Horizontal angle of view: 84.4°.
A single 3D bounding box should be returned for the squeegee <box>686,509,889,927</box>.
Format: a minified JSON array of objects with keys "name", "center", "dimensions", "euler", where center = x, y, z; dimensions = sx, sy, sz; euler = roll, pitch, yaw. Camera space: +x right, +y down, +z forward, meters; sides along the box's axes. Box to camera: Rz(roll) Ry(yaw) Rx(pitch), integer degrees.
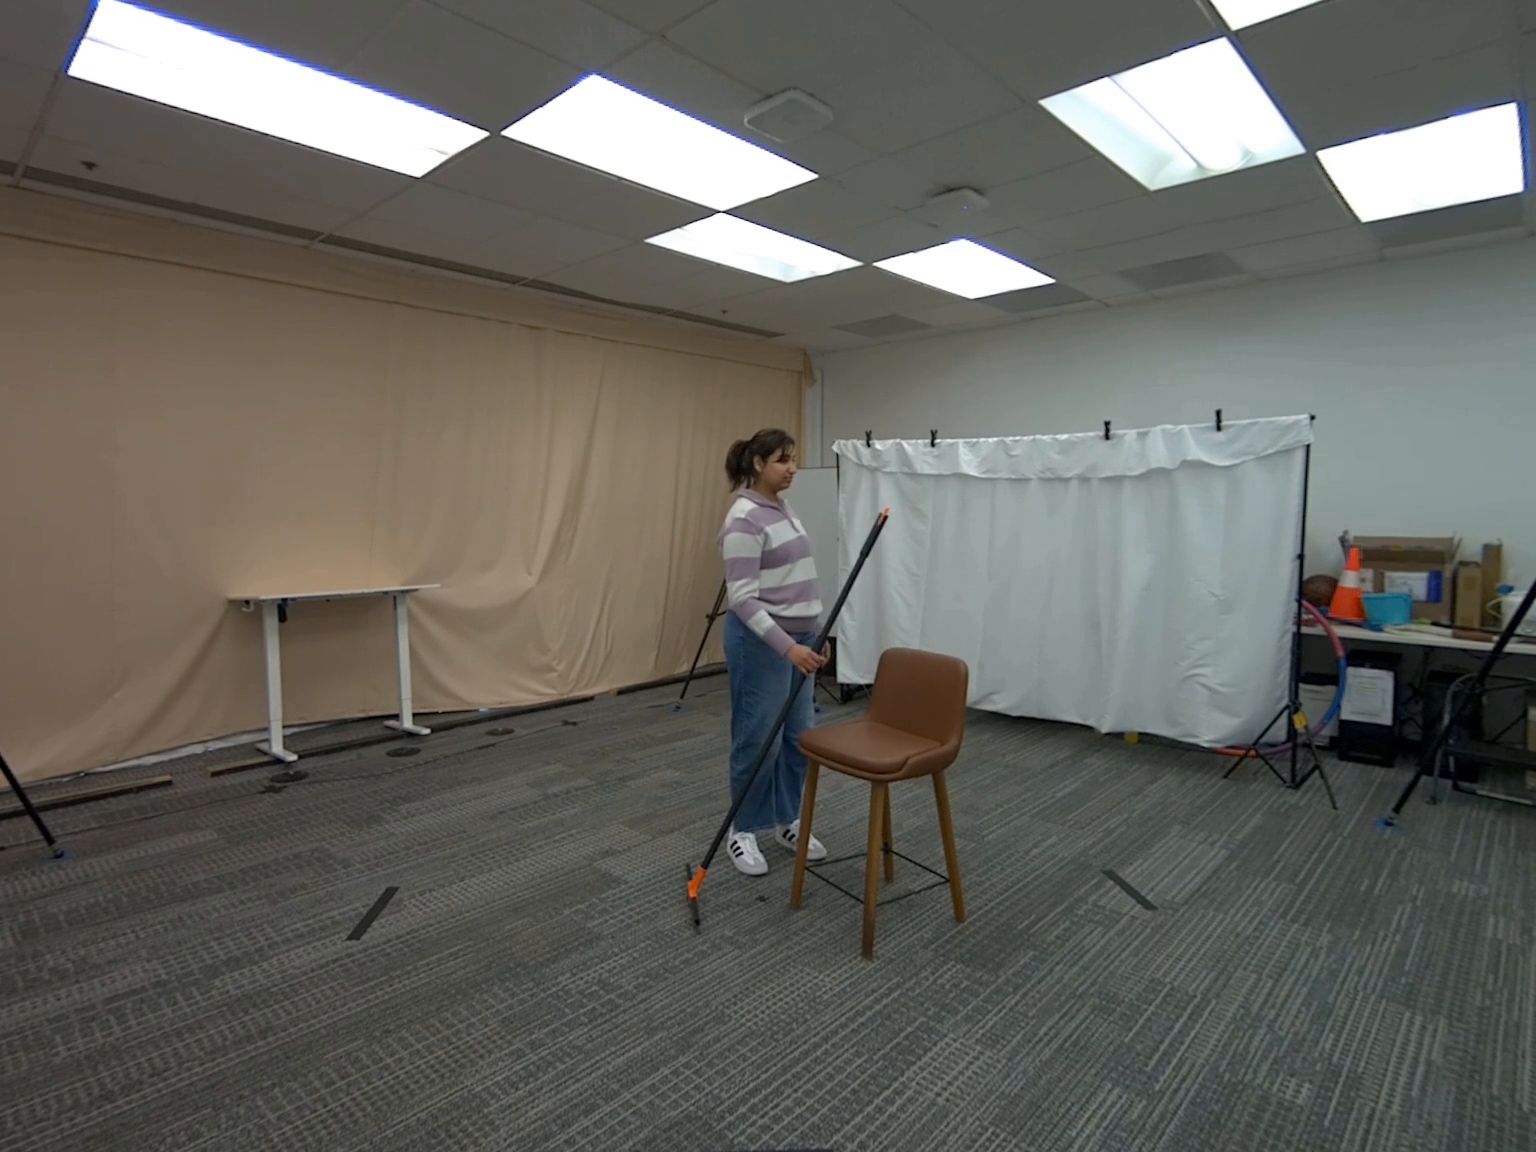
[{"name":"squeegee","center":[0.087,0.446,2.936],"dimensions":[0.052,1.537,0.440],"euler":[27,1,-8]}]
